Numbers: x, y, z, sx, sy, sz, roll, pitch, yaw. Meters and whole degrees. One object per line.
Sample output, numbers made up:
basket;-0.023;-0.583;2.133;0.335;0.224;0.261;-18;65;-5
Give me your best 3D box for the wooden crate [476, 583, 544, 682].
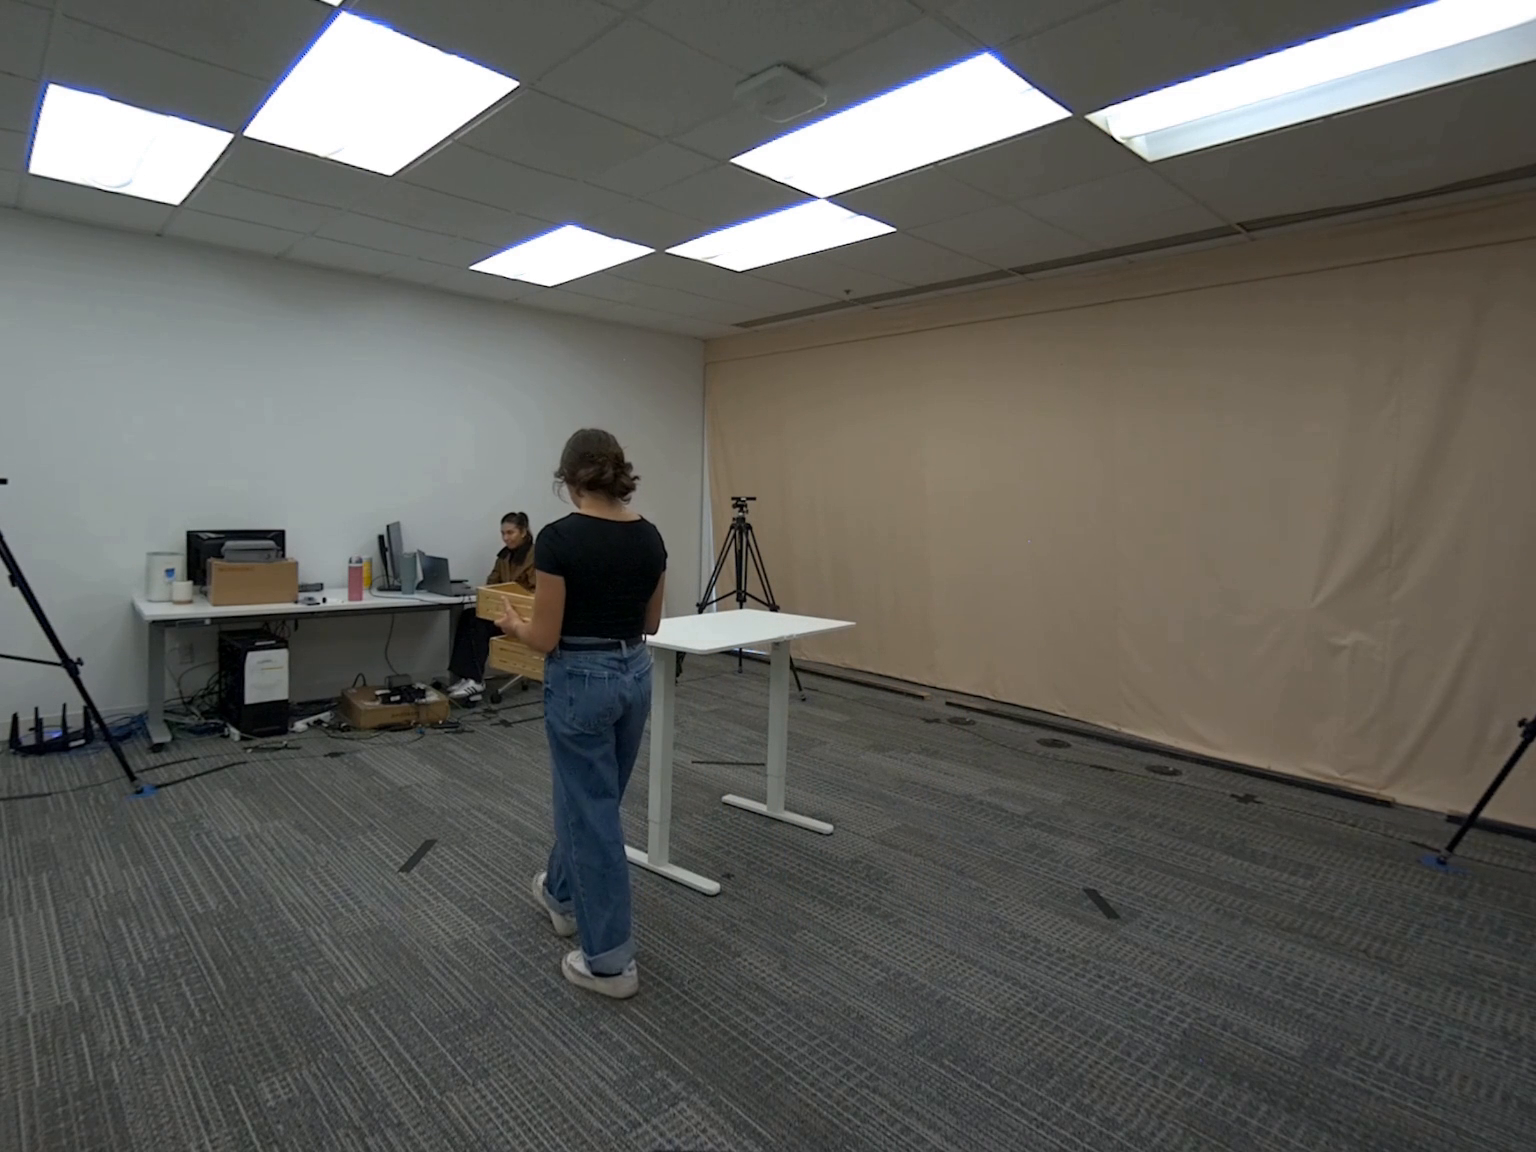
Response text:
wooden crate;-0.709;0.163;2.642;0.332;0.272;0.296;8;10;33
